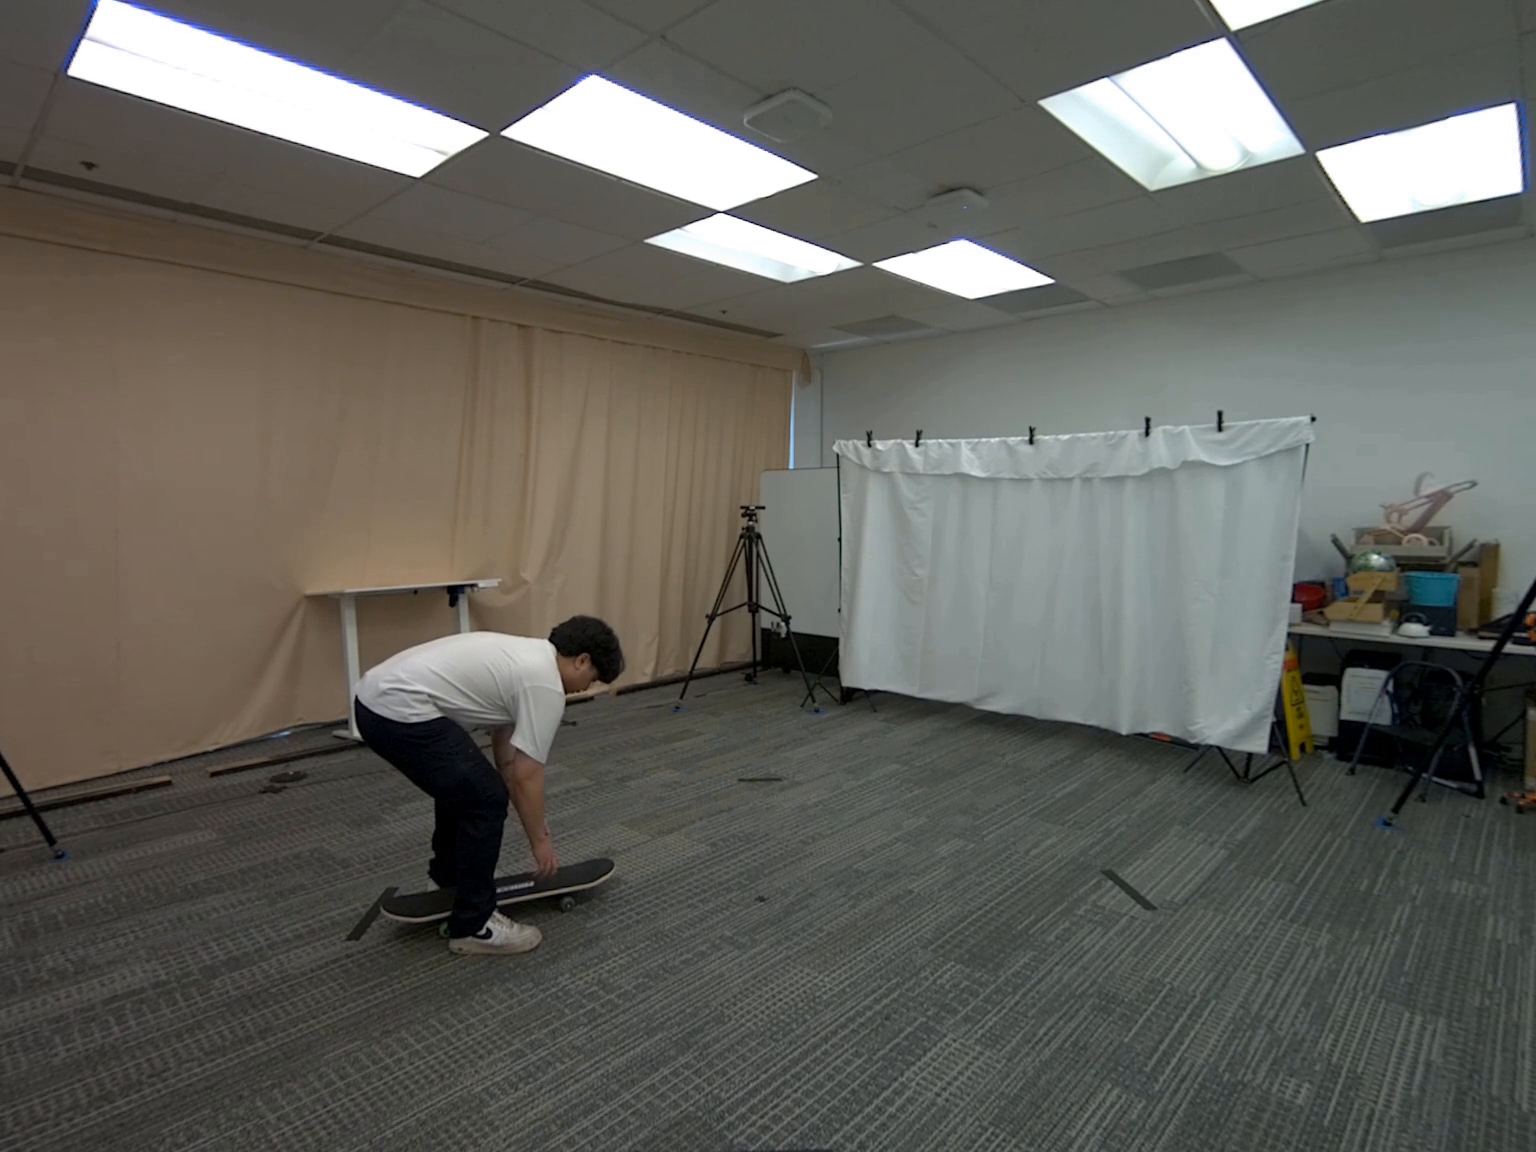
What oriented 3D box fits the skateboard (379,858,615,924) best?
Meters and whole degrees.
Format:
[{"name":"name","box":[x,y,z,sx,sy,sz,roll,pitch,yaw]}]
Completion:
[{"name":"skateboard","box":[-0.906,1.109,2.875,0.766,0.110,0.199,-3,5,-26]}]
